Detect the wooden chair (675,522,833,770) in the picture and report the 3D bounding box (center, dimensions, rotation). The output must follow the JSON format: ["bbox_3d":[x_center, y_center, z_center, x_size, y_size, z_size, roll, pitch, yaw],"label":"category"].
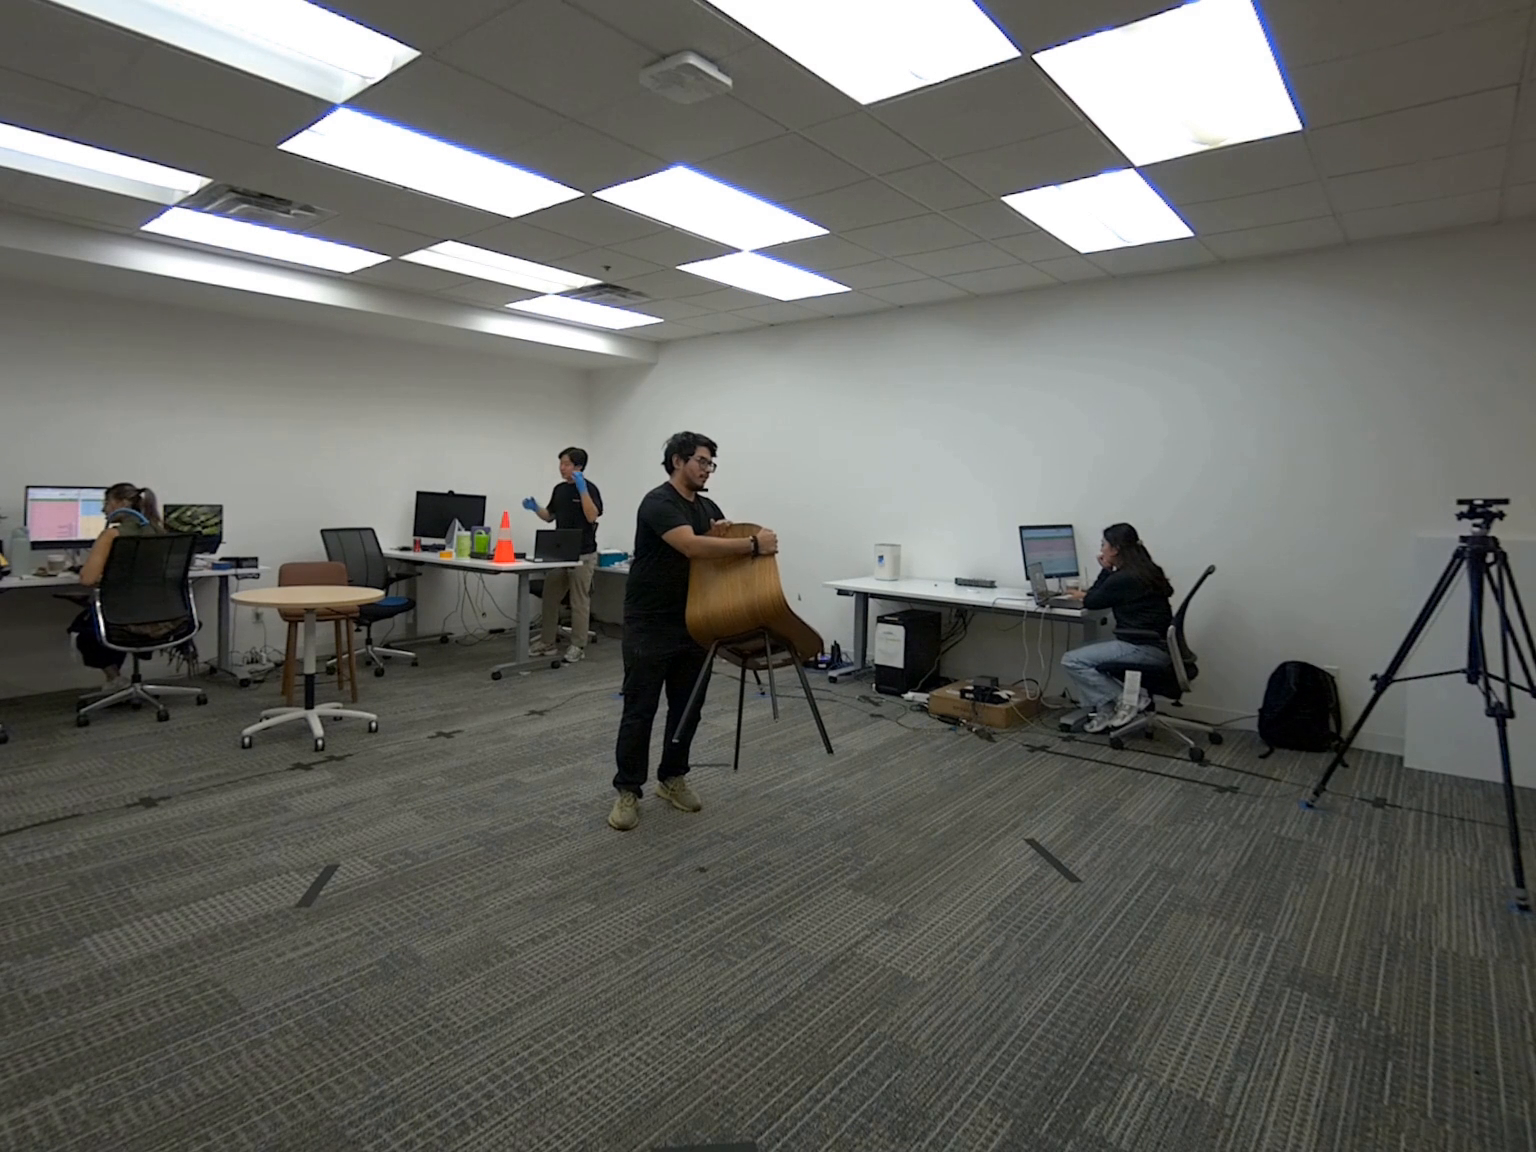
[{"bbox_3d":[-0.058,0.287,3.468,0.486,0.900,0.501,-18,-31,26],"label":"wooden chair"}]
